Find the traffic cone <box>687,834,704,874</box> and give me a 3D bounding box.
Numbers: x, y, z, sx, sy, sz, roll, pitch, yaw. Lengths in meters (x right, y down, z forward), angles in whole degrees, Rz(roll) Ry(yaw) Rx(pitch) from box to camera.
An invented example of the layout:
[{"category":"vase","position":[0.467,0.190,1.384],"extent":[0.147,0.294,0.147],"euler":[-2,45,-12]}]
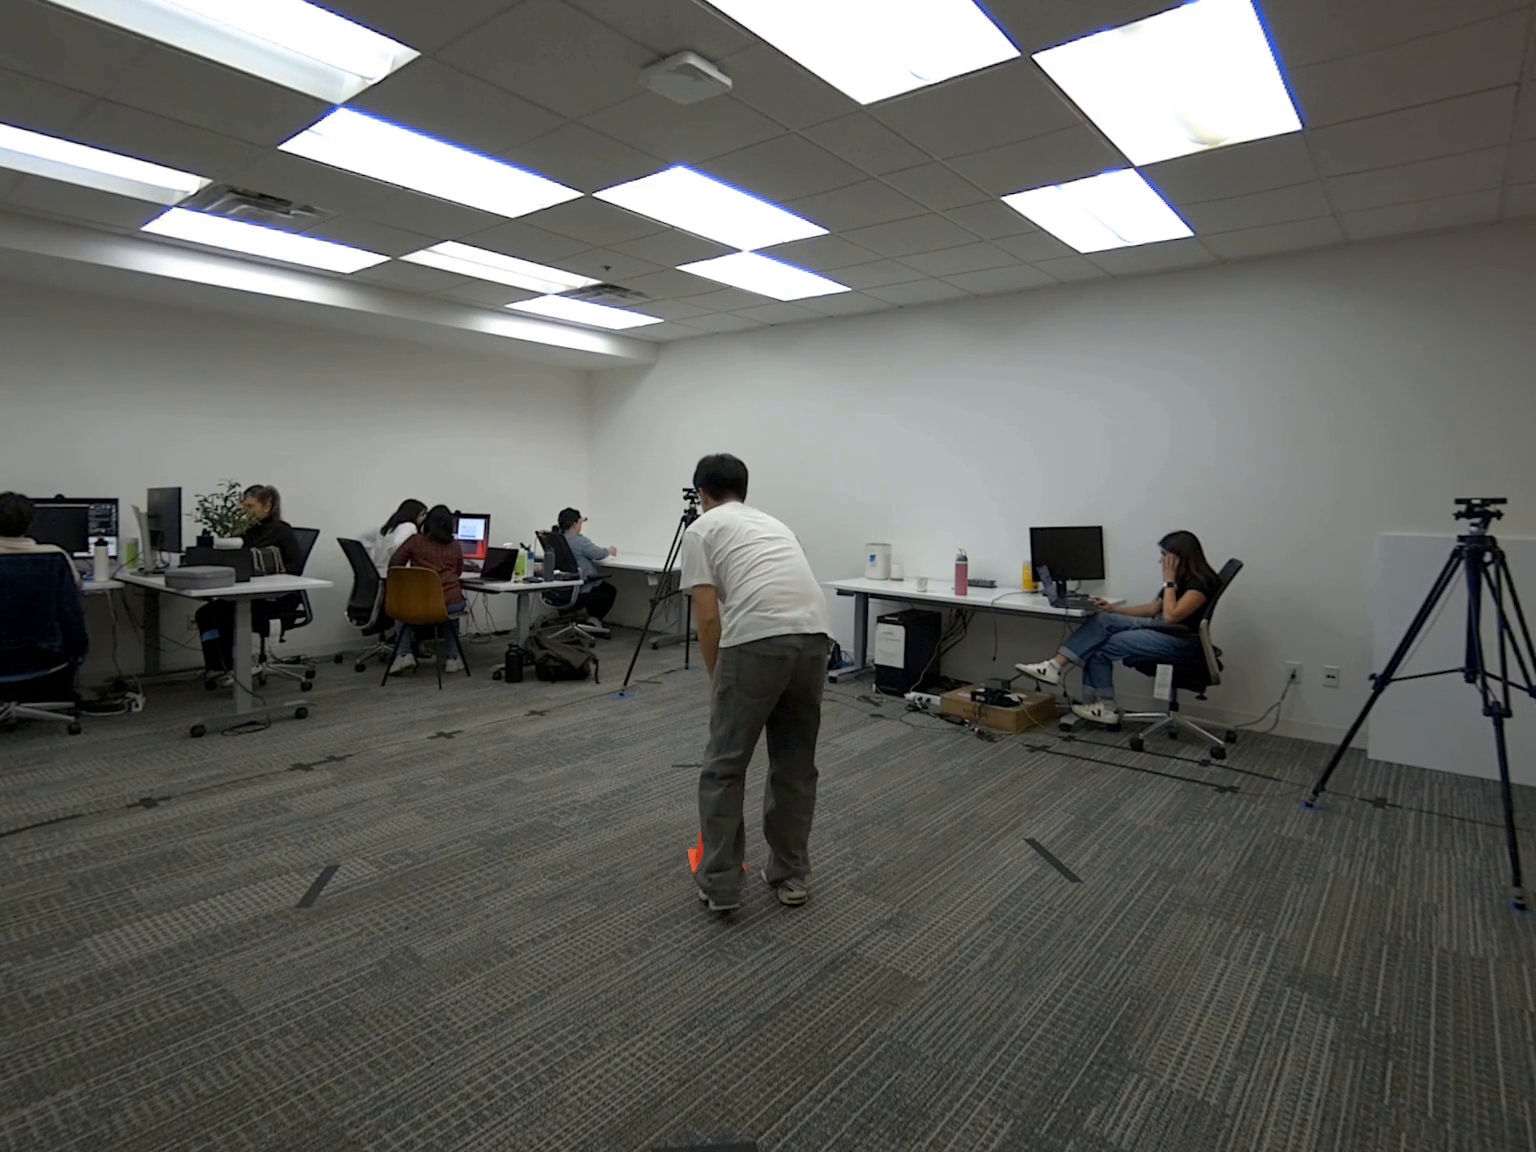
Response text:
[{"category":"traffic cone","position":[-0.183,0.868,3.179],"extent":[0.201,0.383,0.207],"euler":[1,2,-10]}]
